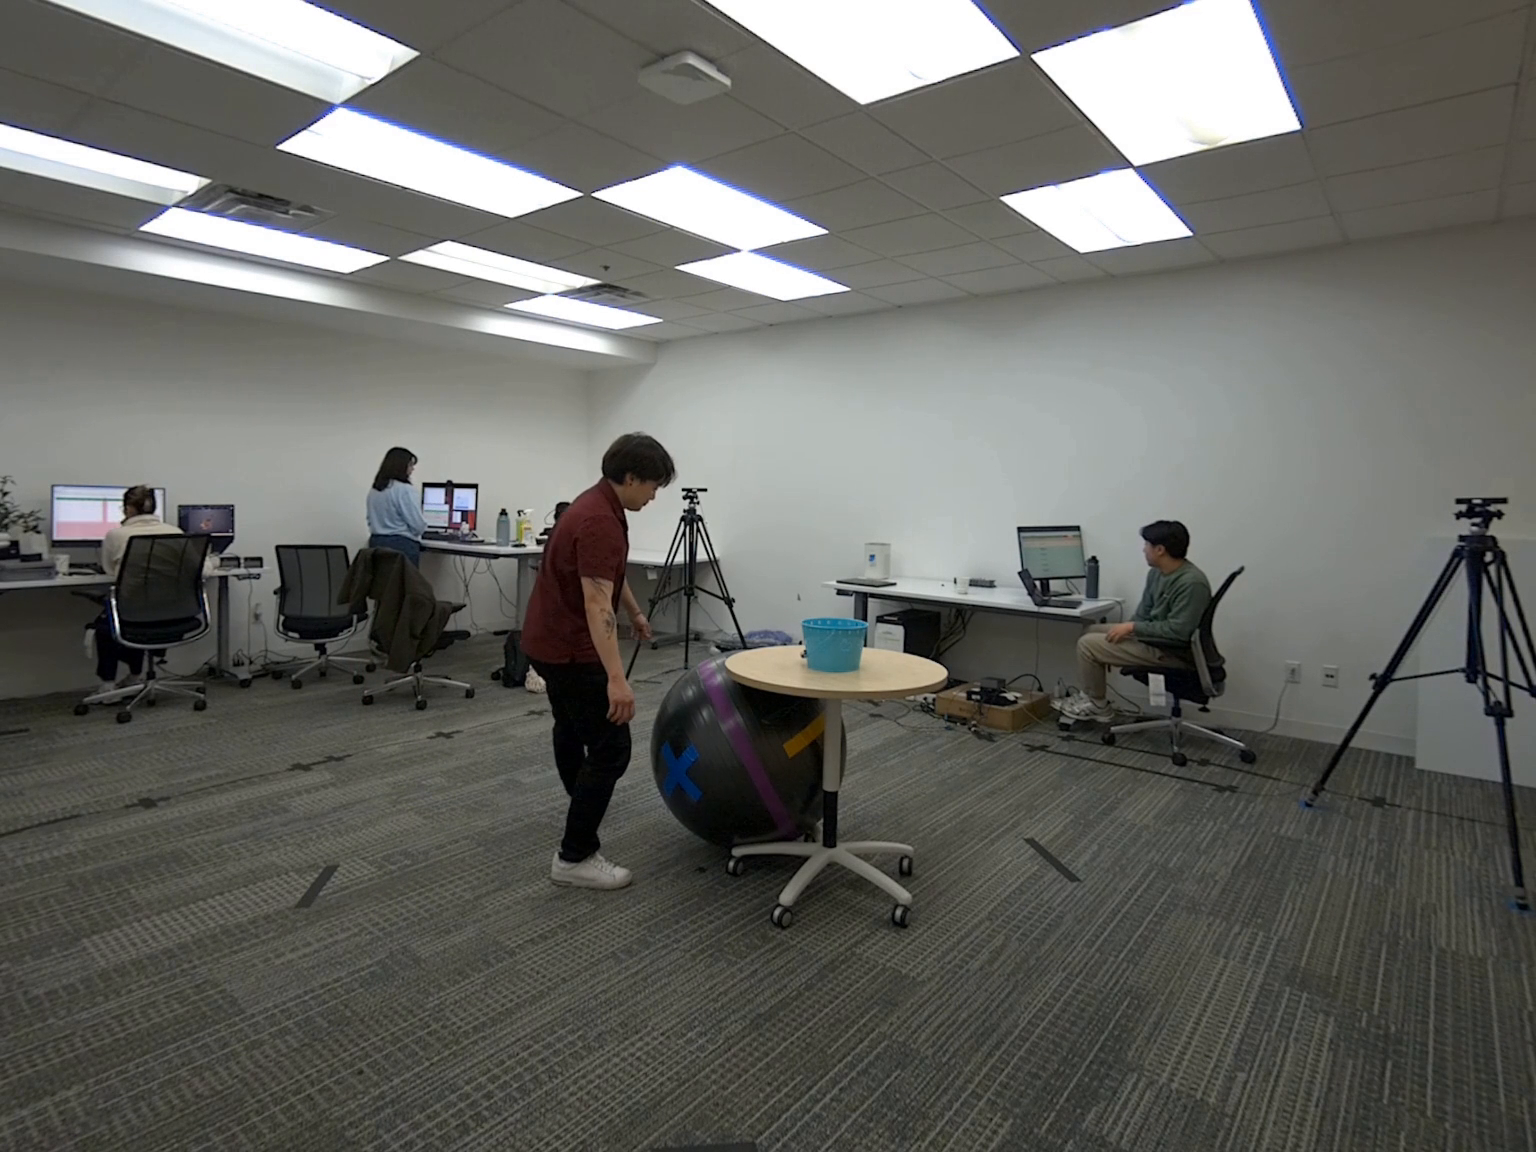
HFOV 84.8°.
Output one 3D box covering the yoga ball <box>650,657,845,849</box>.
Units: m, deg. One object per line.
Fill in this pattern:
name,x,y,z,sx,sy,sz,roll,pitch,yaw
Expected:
yoga ball,-0.084,0.677,3.304,0.757,0.756,0.761,1,4,-2
